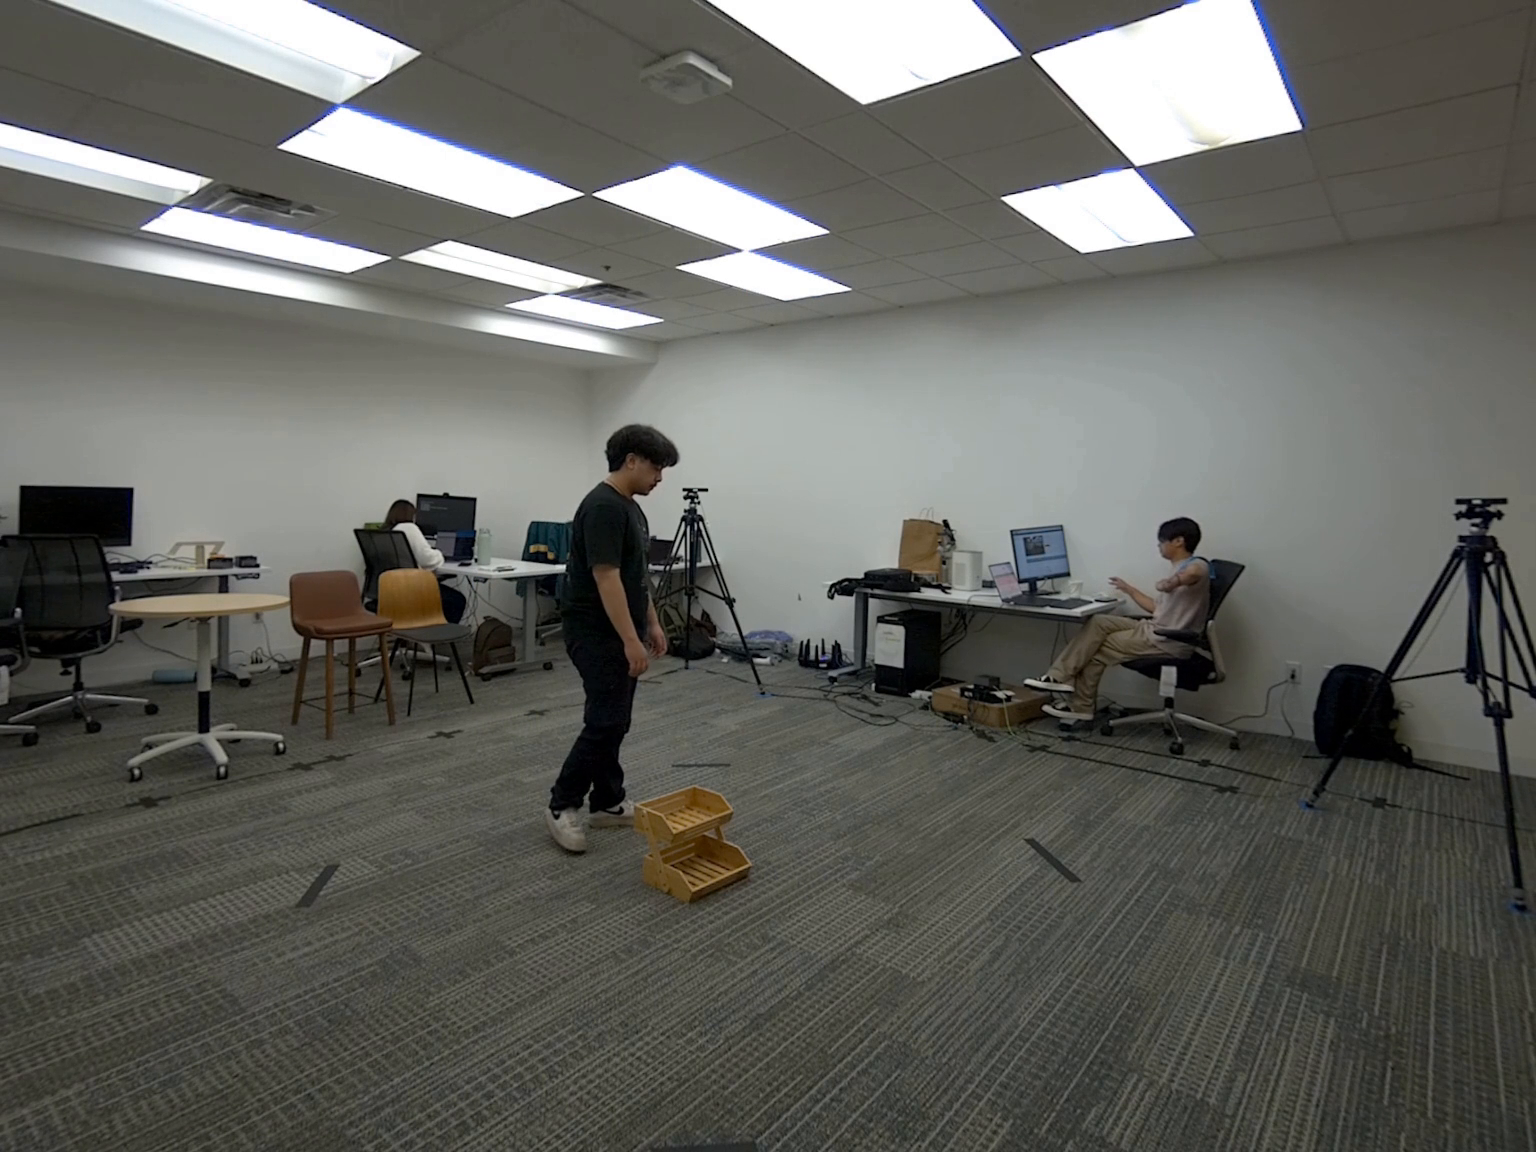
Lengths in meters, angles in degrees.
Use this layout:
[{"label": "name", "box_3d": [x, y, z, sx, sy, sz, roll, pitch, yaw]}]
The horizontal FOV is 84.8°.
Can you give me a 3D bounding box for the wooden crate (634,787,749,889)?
[{"label": "wooden crate", "box_3d": [-0.275, 0.940, 3.037, 0.312, 0.272, 0.315, 3, 5, 42]}]
